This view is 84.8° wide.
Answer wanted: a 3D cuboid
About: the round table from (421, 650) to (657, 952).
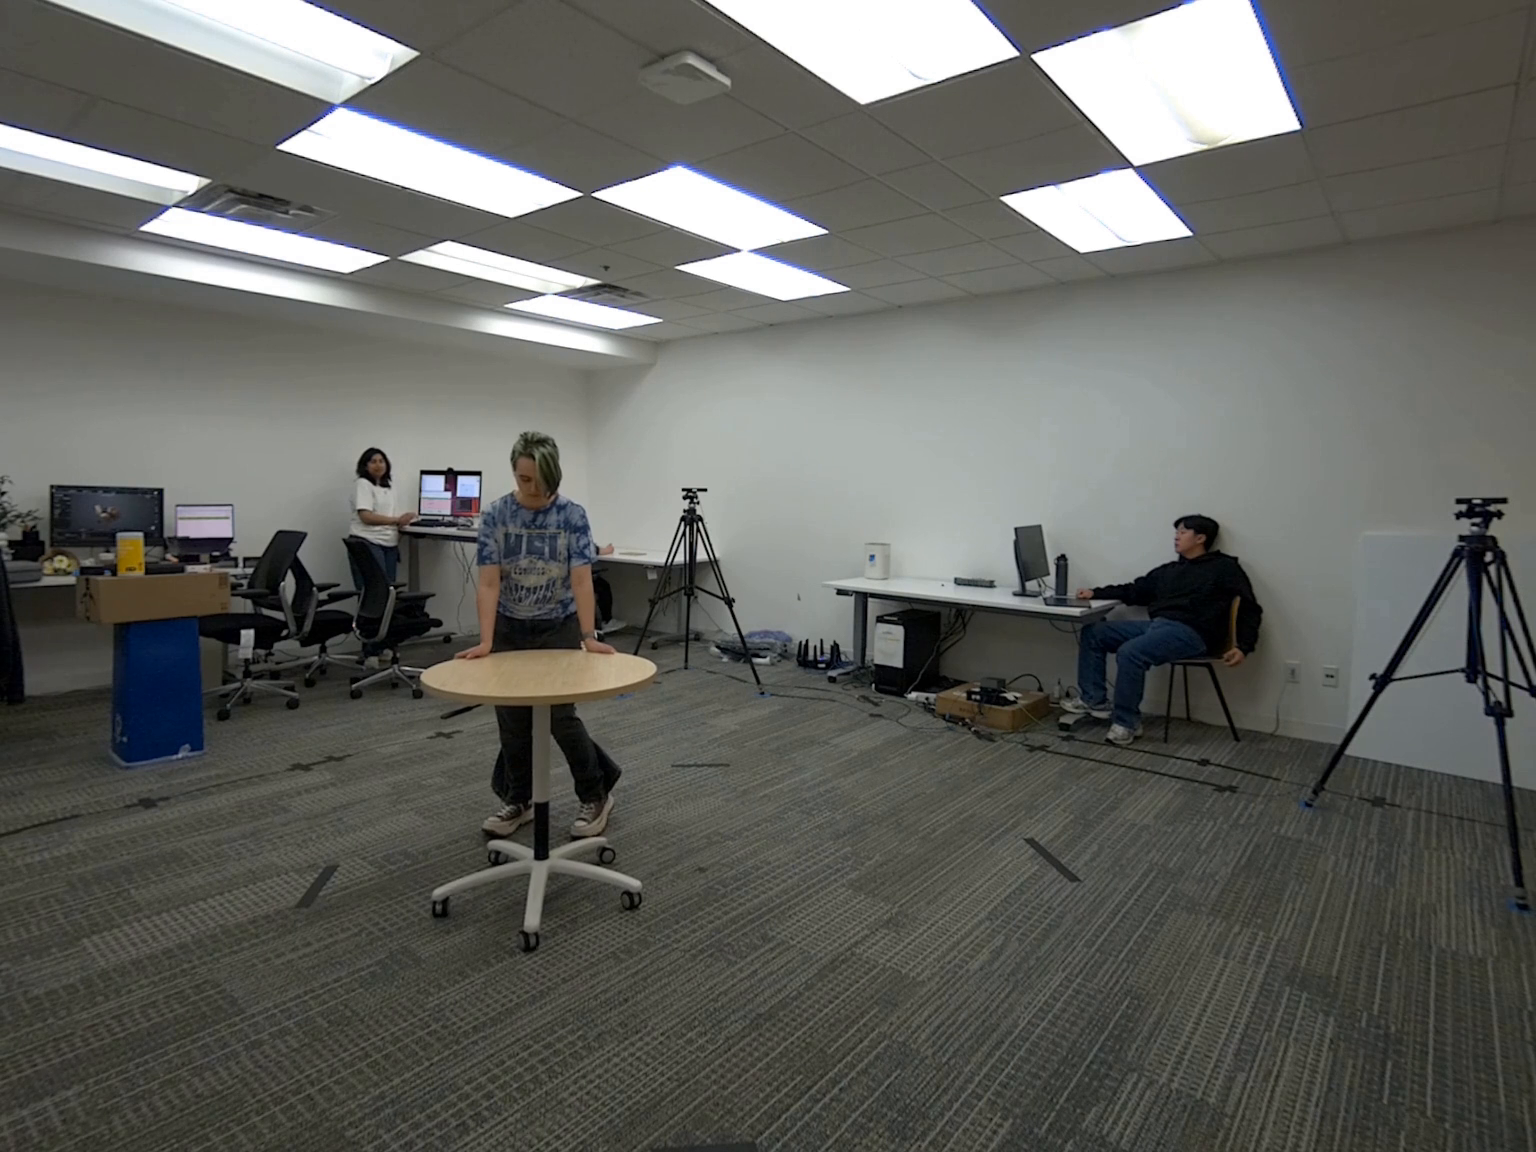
[{"bbox_3d":[-0.767,0.699,2.848,0.763,0.792,0.767,0,4,-2],"label":"round table"}]
